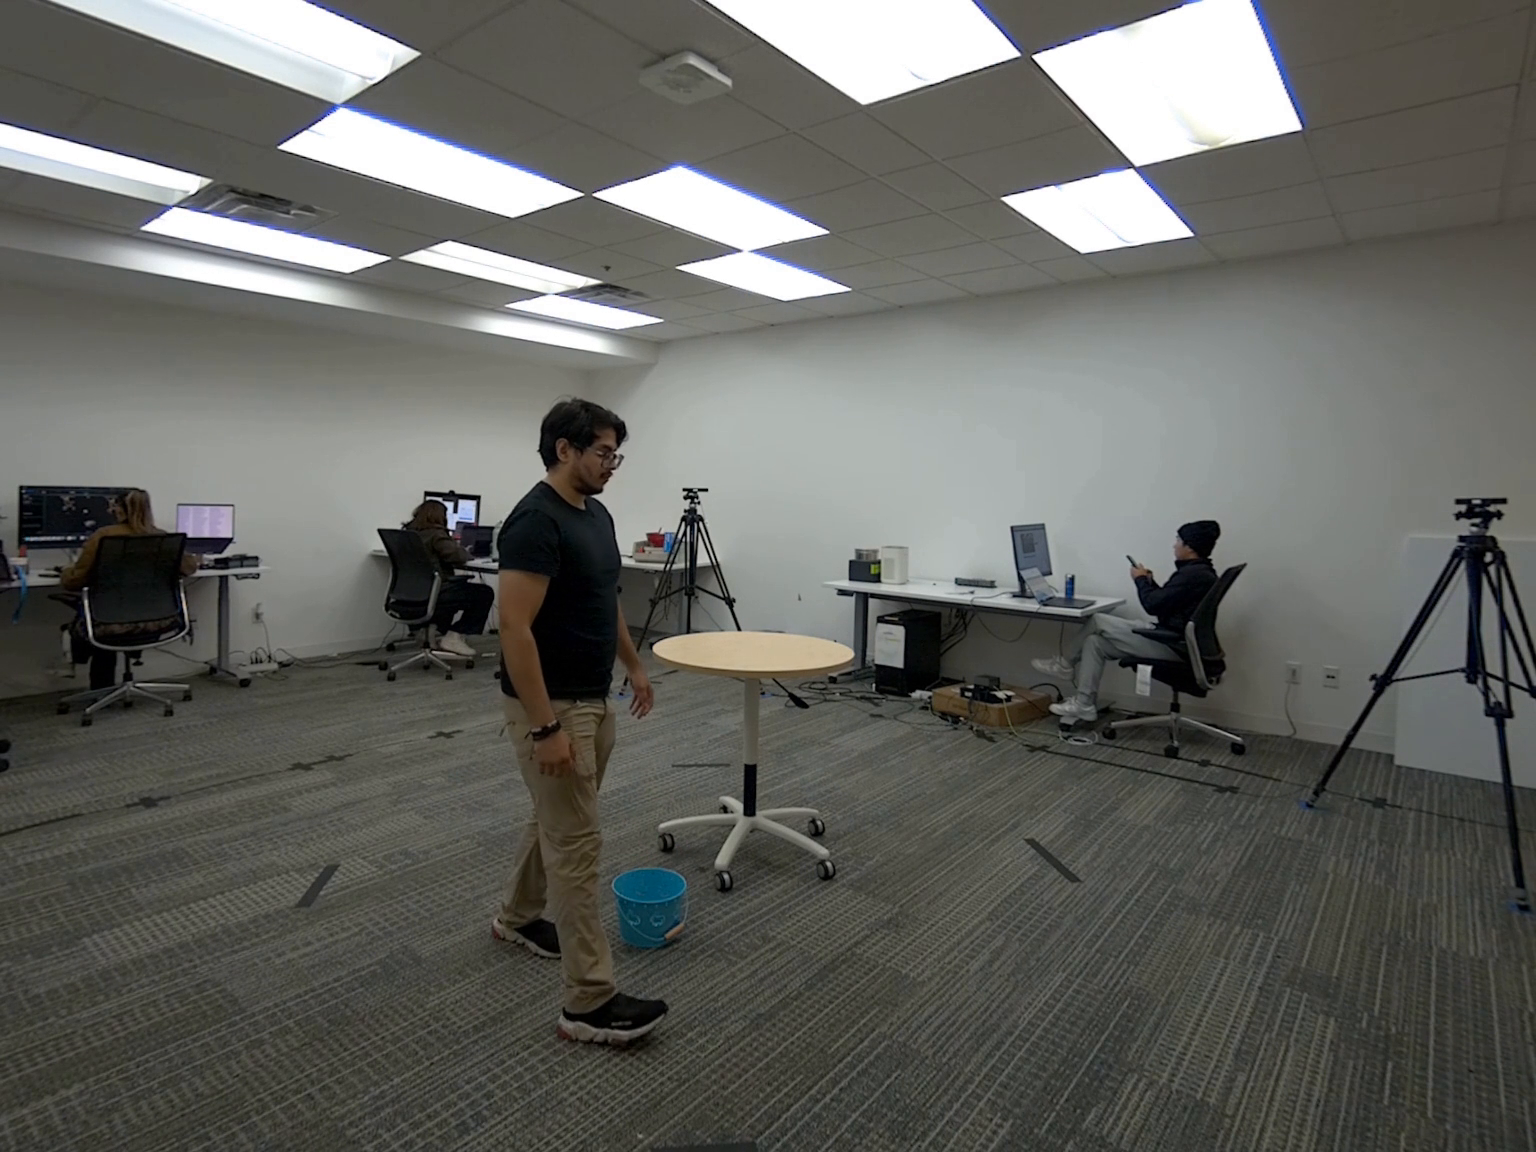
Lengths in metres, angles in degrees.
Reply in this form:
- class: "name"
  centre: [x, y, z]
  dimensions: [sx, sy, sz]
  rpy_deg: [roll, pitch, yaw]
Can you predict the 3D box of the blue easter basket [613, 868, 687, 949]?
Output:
- class: "blue easter basket"
  centre: [-0.381, 1.029, 2.649]
  dimensions: [0.243, 0.155, 0.245]
  rpy_deg: [0, 4, -2]
